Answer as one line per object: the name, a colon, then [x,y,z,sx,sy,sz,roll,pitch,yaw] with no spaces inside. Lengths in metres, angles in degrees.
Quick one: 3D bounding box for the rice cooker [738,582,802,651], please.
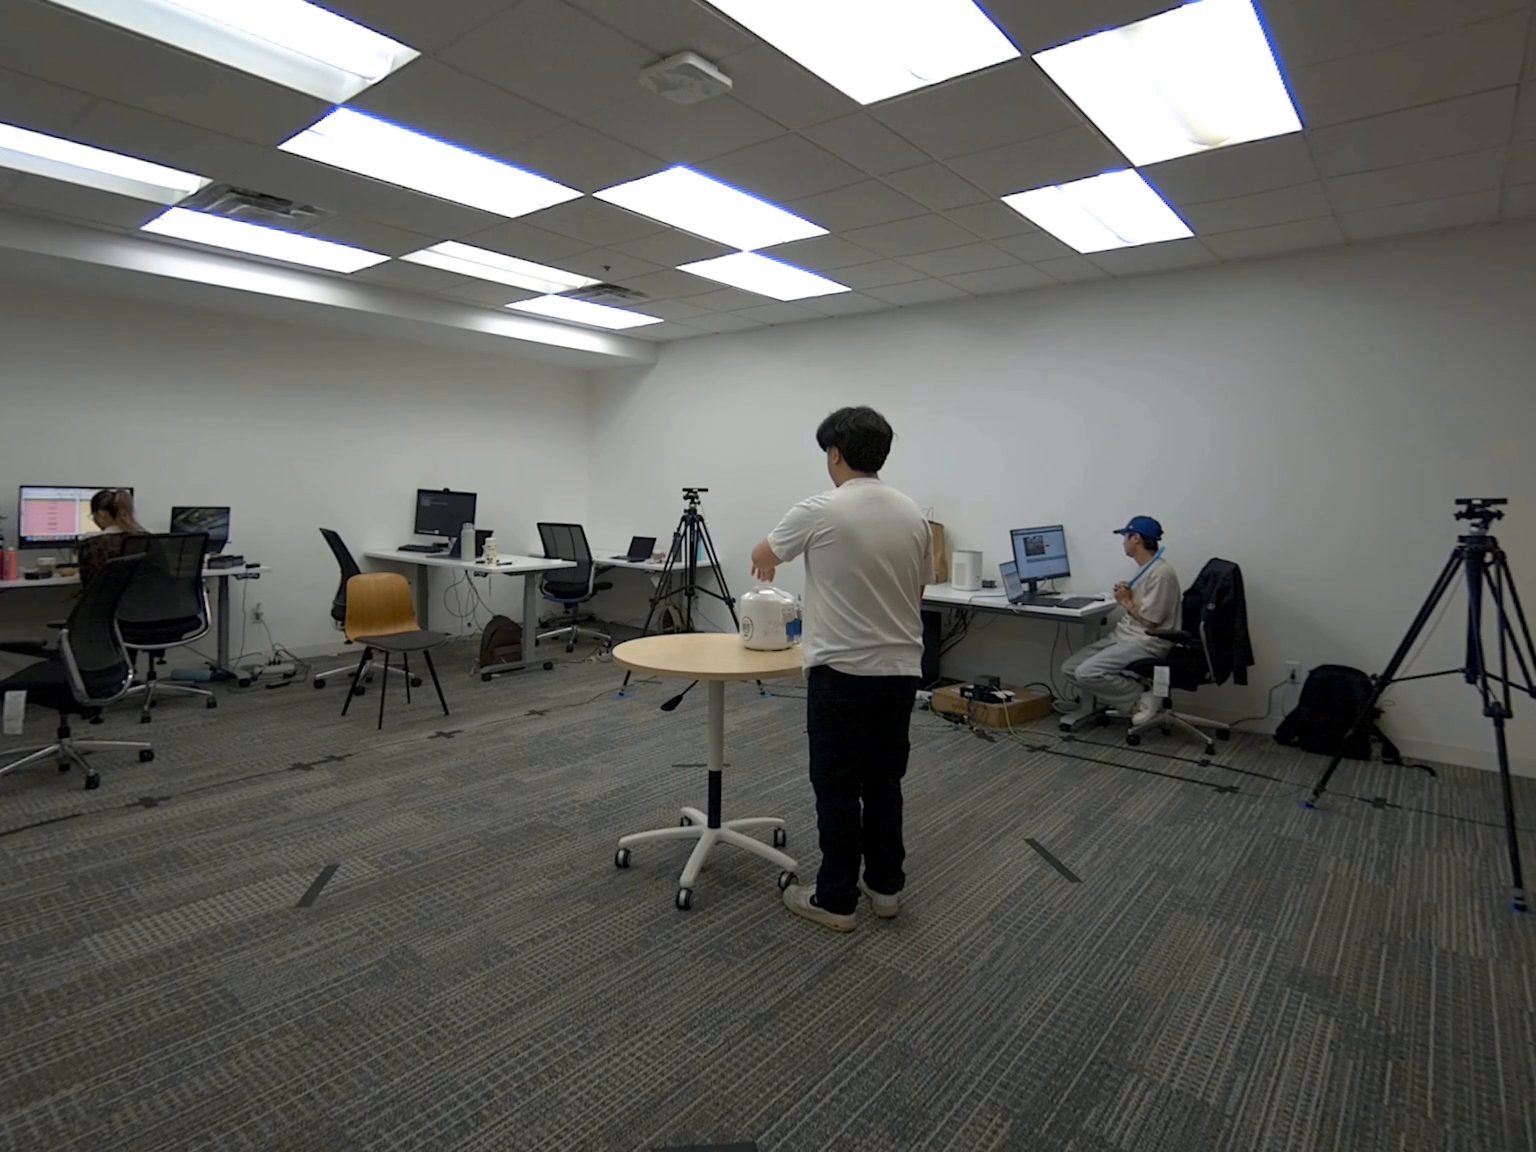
rice cooker: [-0.012,0.149,3.203,0.211,0.232,0.228,-2,4,-44]
